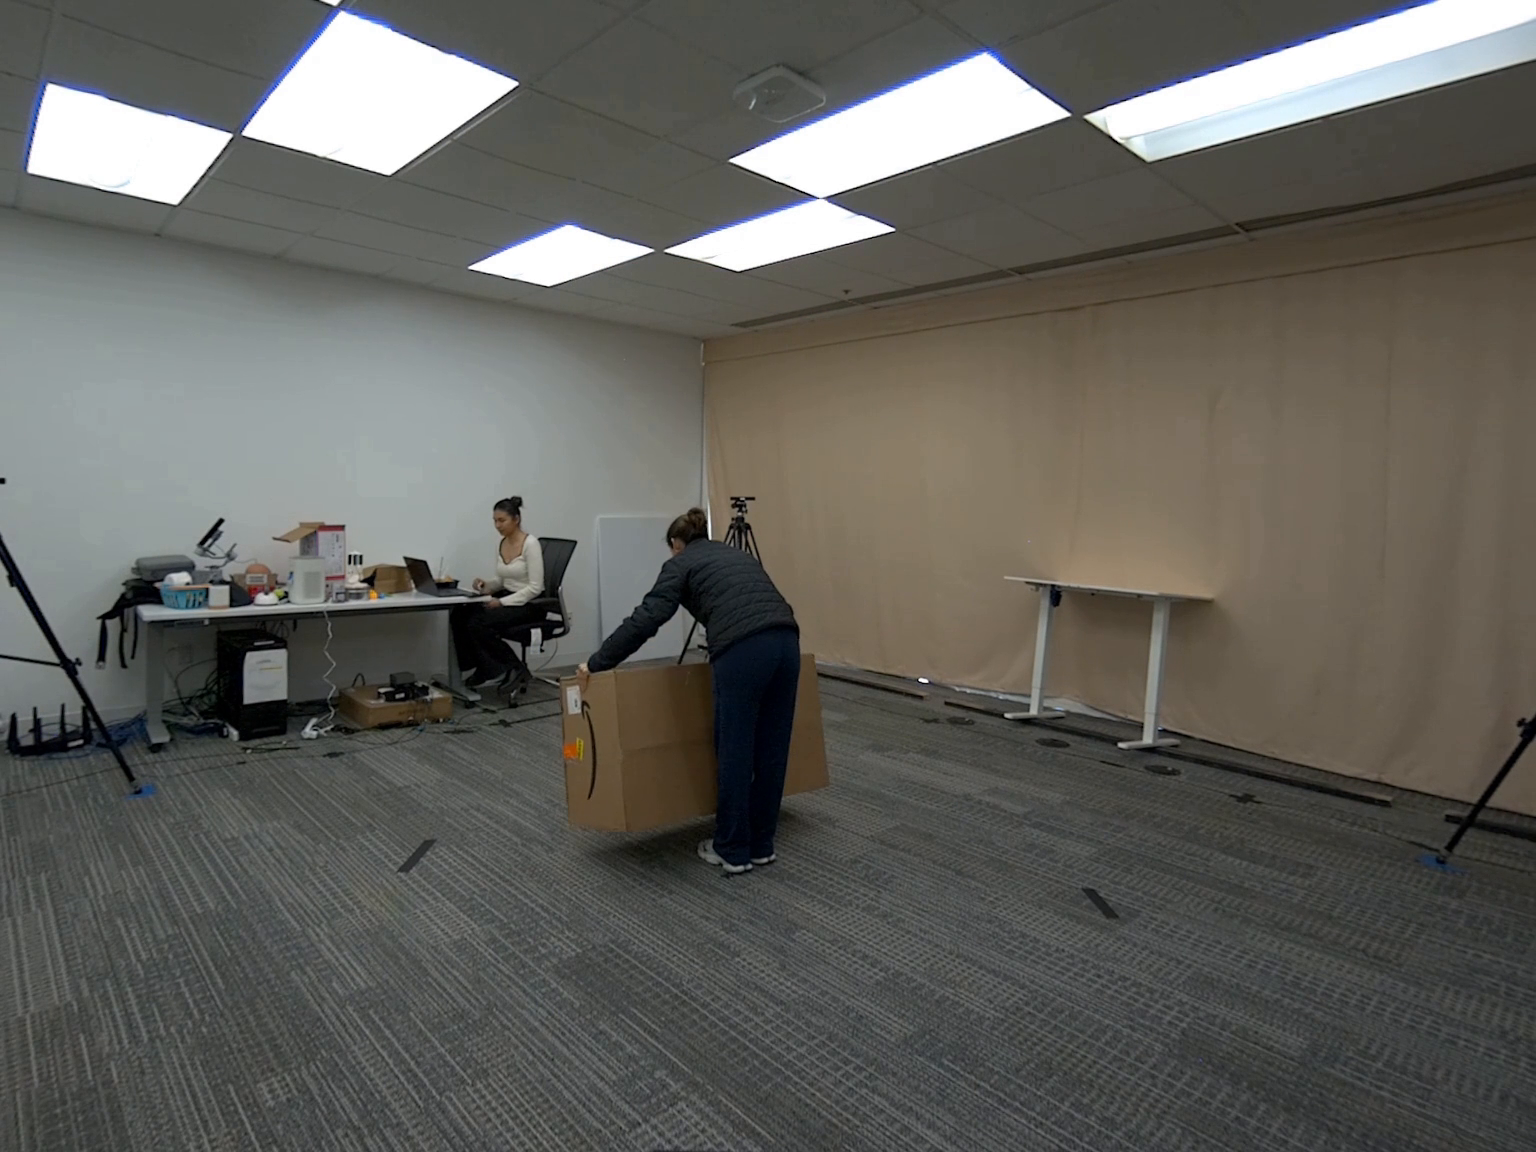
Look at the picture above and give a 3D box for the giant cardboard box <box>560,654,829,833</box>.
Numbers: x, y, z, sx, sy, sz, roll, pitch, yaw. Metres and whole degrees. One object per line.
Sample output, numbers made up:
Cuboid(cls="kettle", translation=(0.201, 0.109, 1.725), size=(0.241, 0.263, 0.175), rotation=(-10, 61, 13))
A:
Cuboid(cls="giant cardboard box", translation=(-0.297, 0.657, 3.467), size=(1.003, 0.587, 0.455), rotation=(0, -8, -40))
